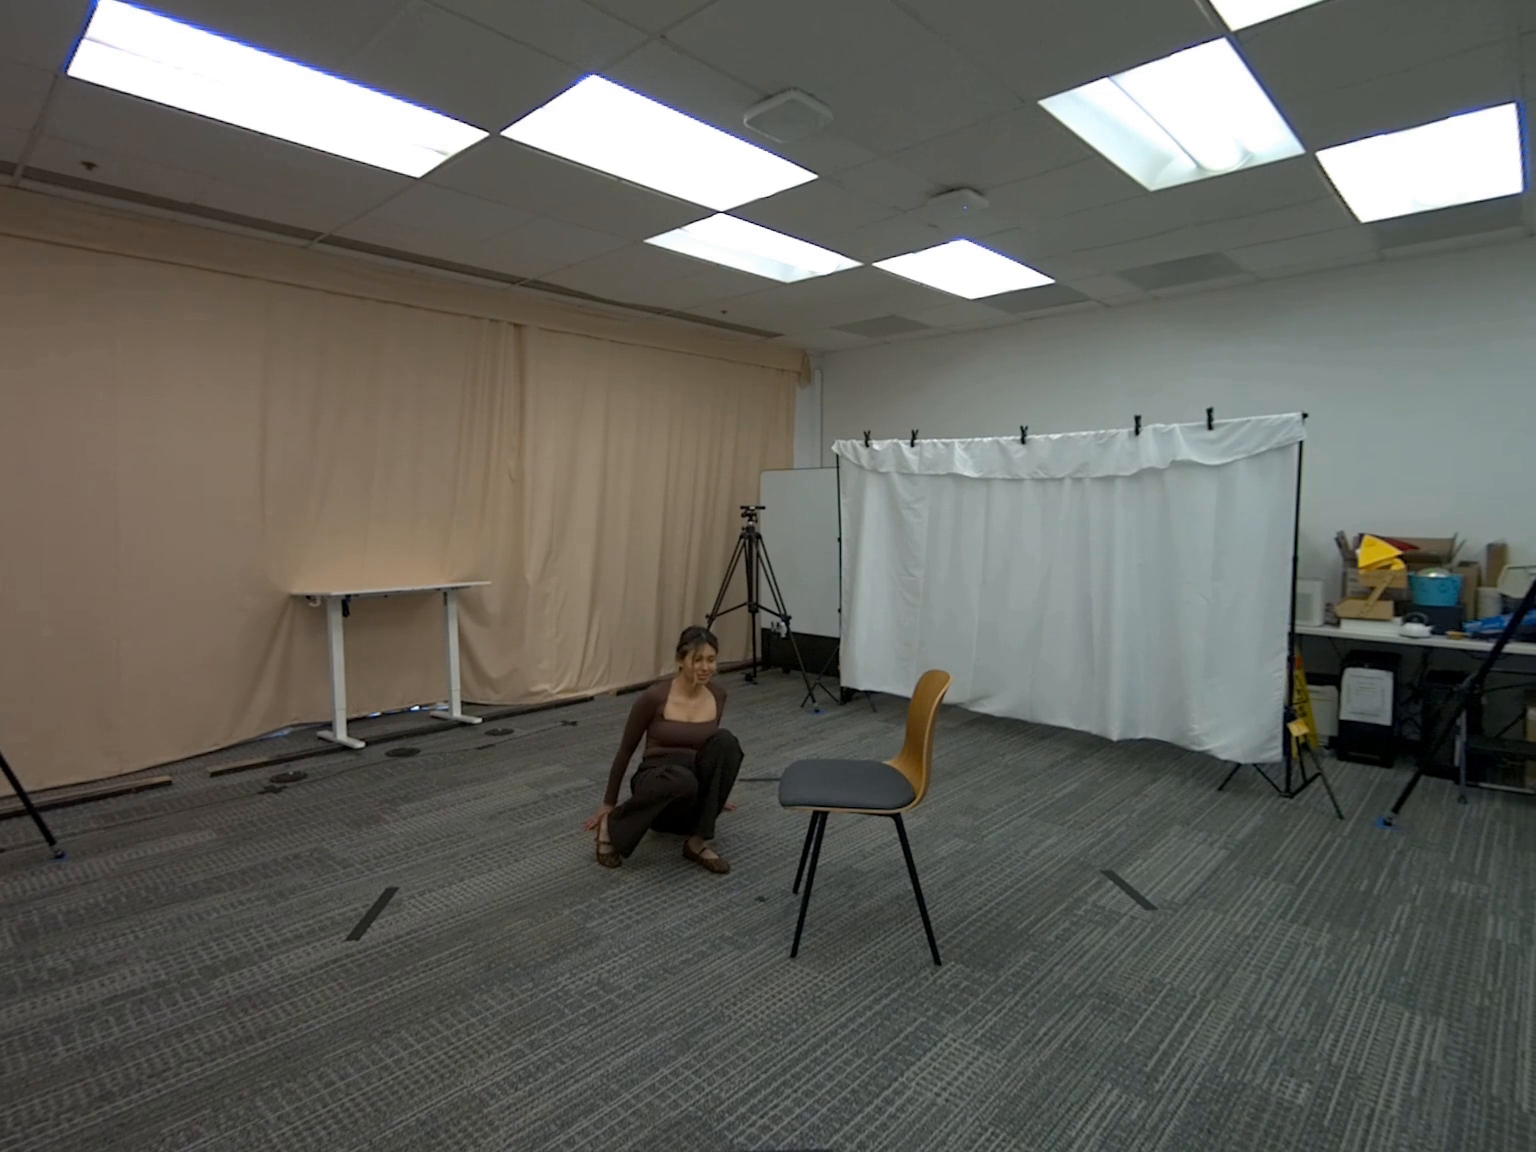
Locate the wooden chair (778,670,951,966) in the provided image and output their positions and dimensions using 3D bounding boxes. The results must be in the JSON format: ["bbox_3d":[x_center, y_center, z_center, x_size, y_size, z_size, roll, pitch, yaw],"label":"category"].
[{"bbox_3d":[0.304,0.735,2.756,0.526,0.875,0.476,4,4,4],"label":"wooden chair"}]
